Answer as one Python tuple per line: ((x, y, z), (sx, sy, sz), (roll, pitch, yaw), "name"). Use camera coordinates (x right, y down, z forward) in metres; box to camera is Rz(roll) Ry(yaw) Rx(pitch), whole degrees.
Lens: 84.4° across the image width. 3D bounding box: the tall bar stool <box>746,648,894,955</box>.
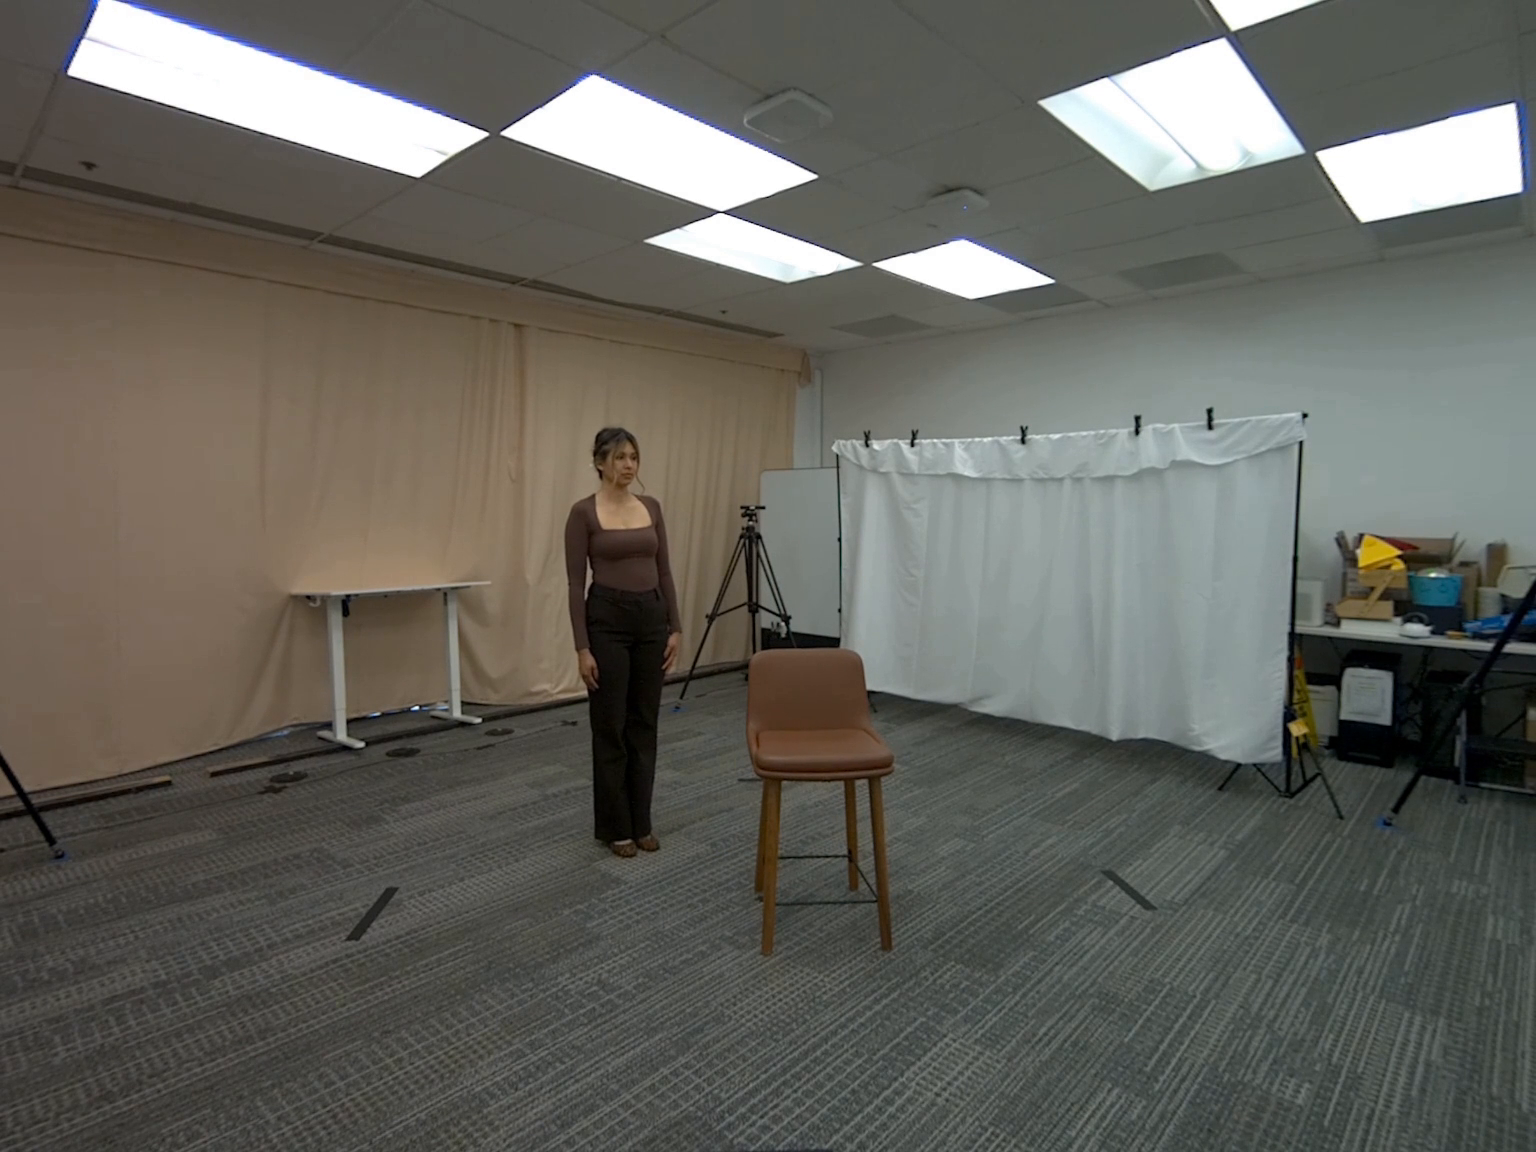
((0.168, 0.724, 2.822), (0.454, 0.889, 0.470), (0, 1, -5), "tall bar stool")
